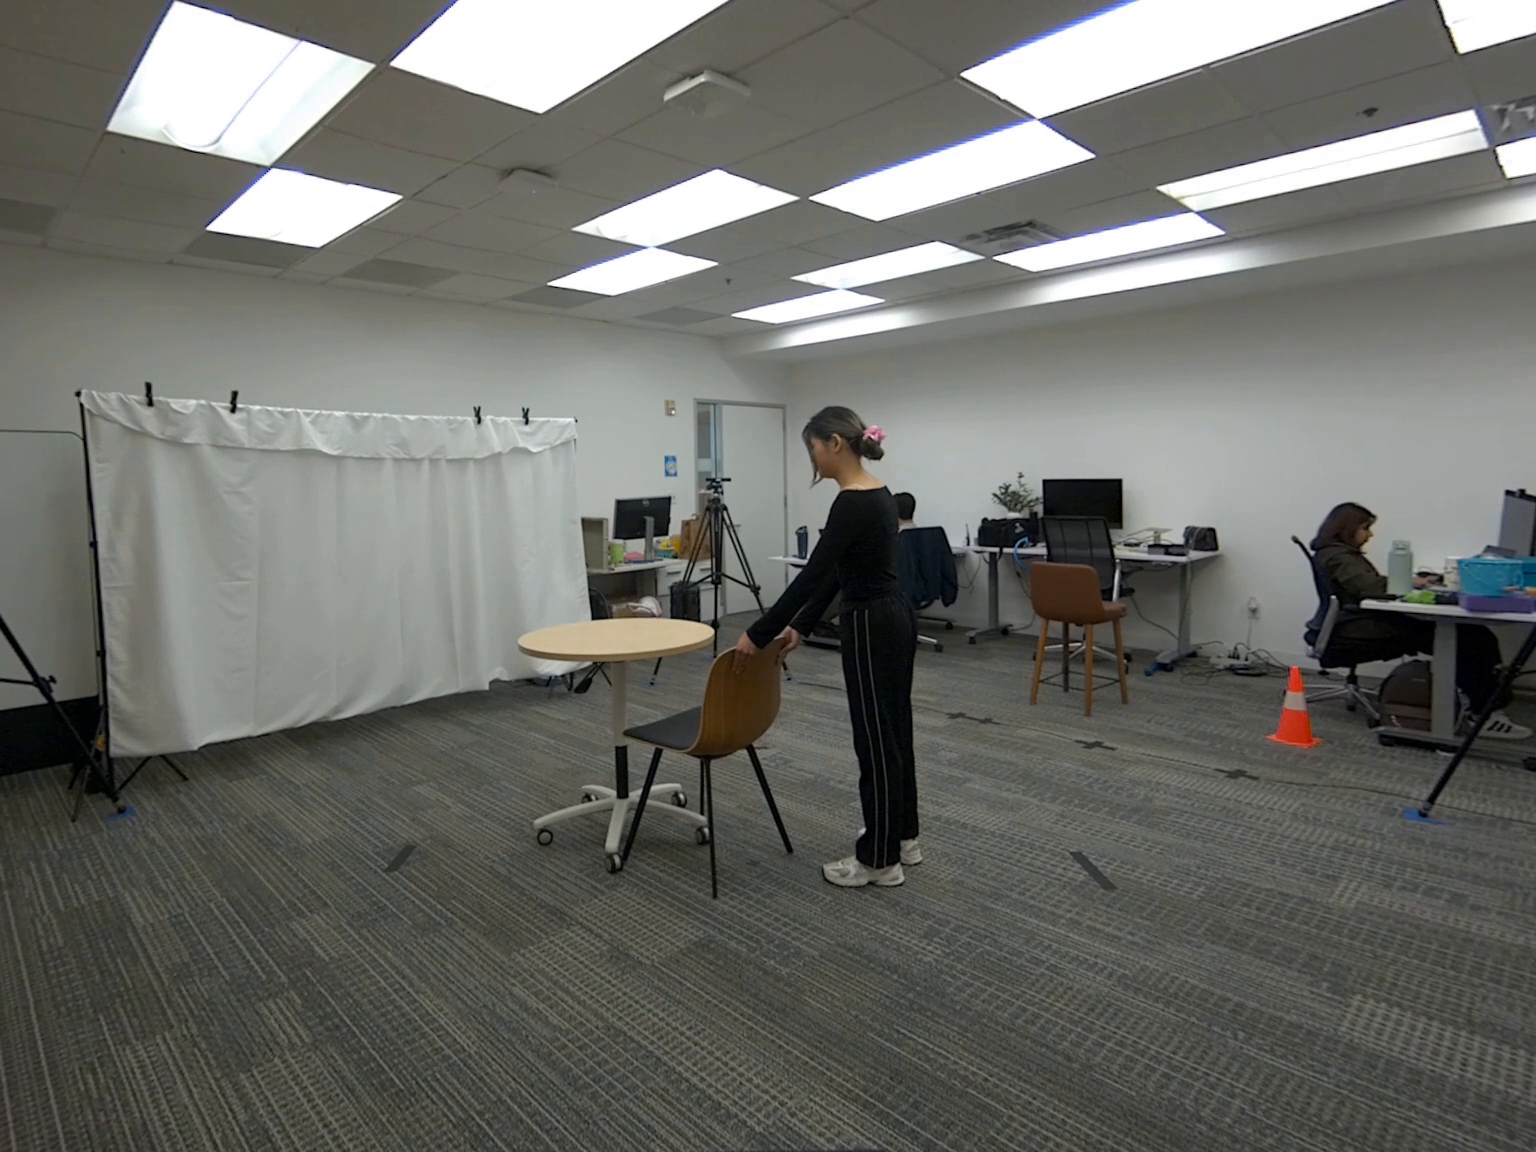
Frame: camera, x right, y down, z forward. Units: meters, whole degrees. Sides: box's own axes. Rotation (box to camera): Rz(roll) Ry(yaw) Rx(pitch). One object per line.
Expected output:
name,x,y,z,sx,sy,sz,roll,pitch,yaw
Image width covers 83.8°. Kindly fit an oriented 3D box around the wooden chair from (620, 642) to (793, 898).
wooden chair,-0.225,0.612,3.122,0.540,0.871,0.466,9,10,39
